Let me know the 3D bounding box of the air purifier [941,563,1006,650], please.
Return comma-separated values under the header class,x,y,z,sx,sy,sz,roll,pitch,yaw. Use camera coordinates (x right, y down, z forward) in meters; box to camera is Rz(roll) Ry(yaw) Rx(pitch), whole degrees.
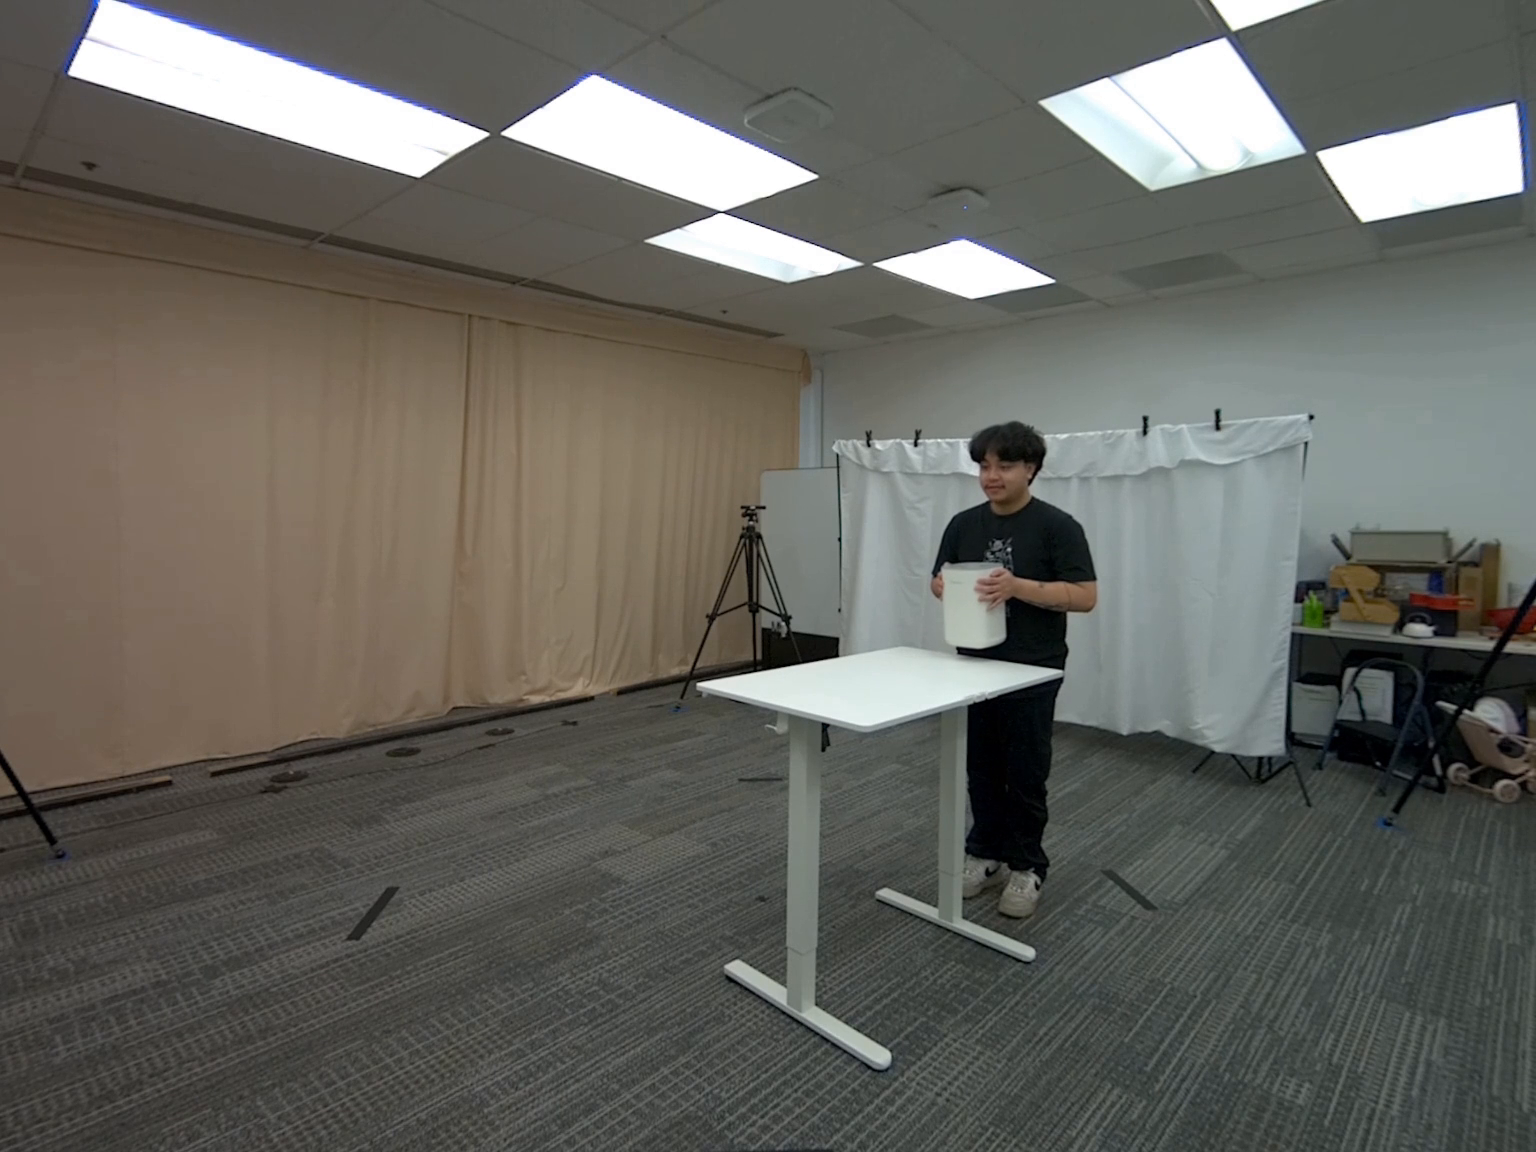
class,x,y,z,sx,sy,sz,roll,pitch,yaw
air purifier,0.685,0.099,2.814,0.166,0.265,0.176,-8,5,-44
